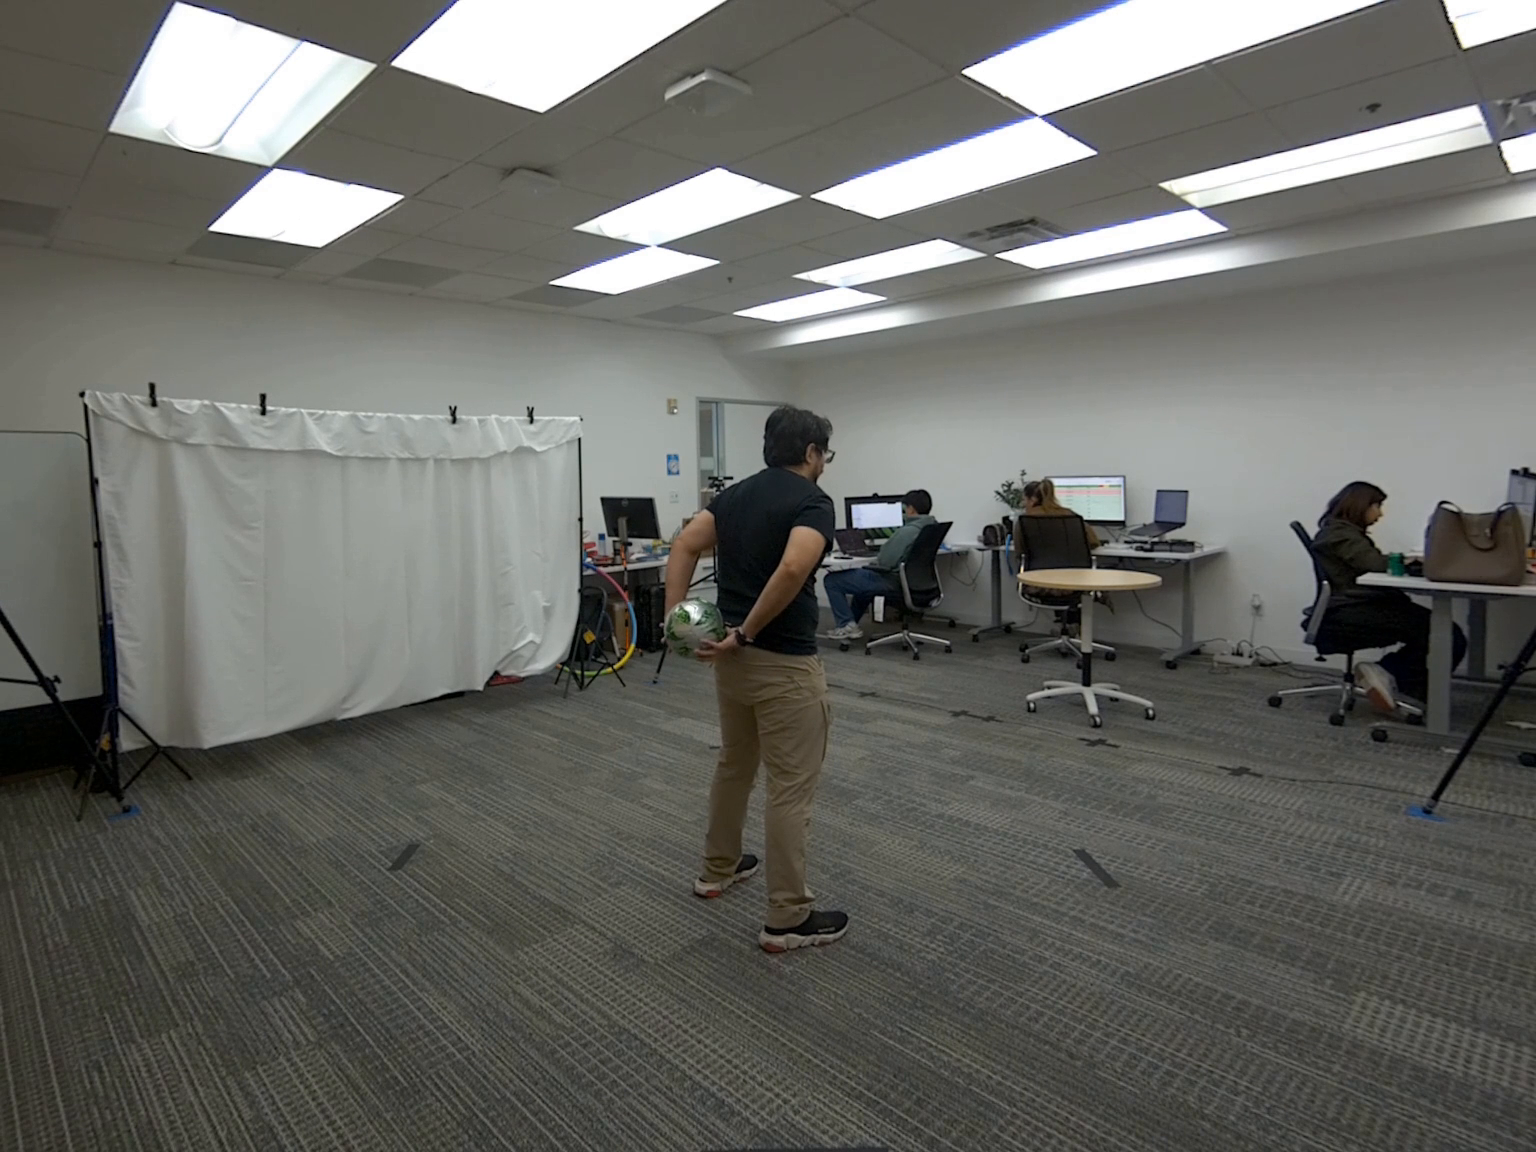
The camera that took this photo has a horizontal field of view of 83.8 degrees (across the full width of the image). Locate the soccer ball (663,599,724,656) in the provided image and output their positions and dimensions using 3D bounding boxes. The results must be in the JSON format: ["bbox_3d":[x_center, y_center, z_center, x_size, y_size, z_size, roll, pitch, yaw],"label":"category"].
[{"bbox_3d":[-0.219,0.159,2.585,0.187,0.187,0.188,-1,5,-2],"label":"soccer ball"}]
